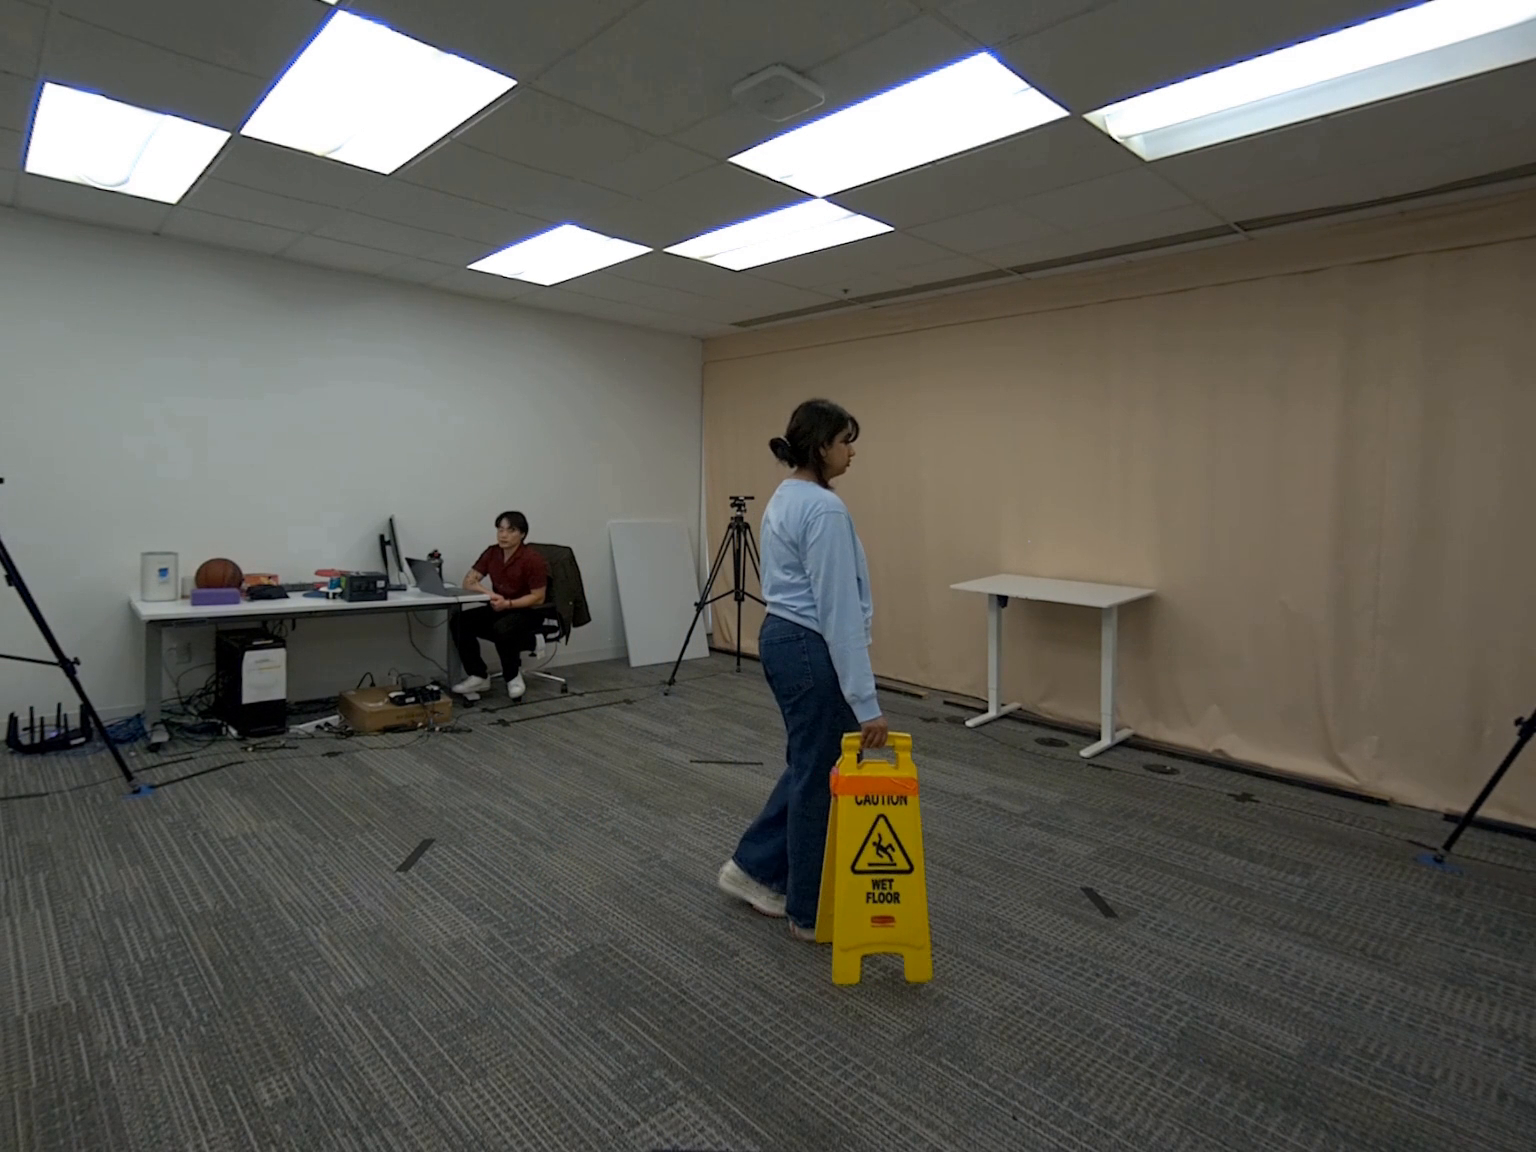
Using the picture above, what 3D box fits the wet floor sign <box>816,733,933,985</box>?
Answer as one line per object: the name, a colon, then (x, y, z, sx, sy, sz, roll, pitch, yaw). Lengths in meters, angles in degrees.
wet floor sign: (0.285, 0.774, 2.389, 0.281, 0.646, 0.291, 0, 0, -7)
